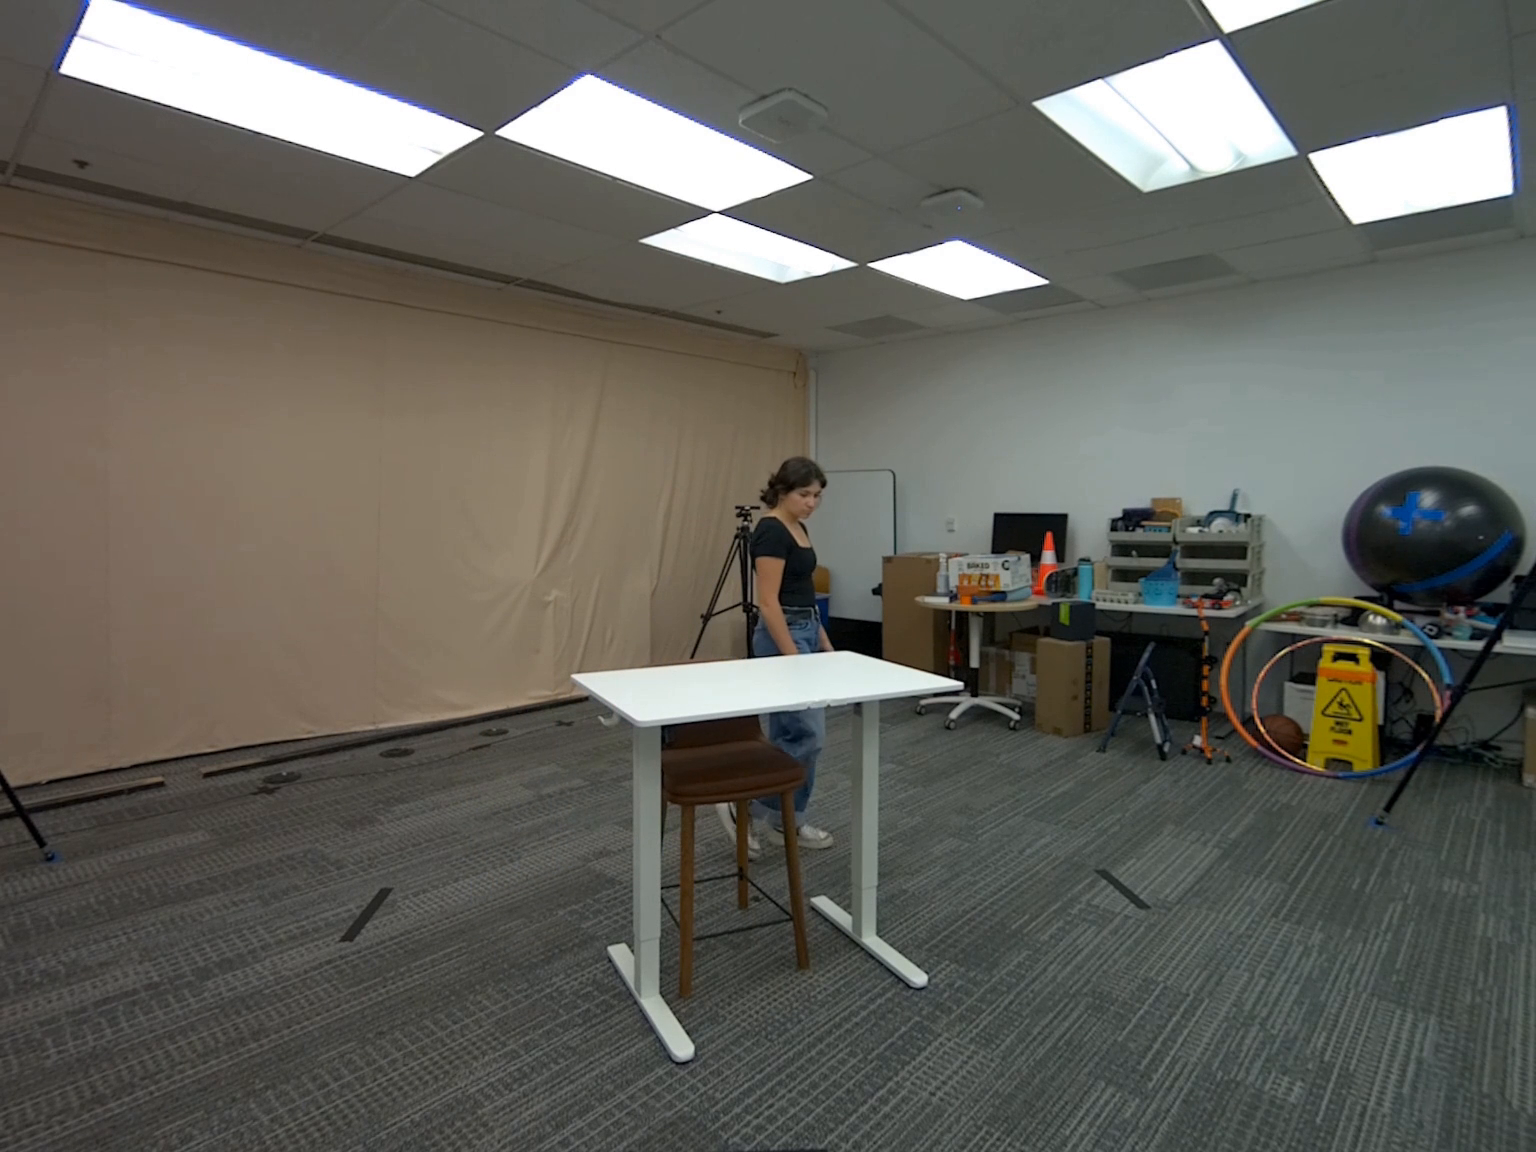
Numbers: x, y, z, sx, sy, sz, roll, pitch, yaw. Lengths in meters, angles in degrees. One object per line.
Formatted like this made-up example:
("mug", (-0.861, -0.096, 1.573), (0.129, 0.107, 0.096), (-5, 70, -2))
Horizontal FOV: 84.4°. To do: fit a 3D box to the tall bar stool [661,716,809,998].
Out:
("tall bar stool", (-0.162, 0.746, 2.640), (0.446, 0.889, 0.478), (-2, 2, -23))
